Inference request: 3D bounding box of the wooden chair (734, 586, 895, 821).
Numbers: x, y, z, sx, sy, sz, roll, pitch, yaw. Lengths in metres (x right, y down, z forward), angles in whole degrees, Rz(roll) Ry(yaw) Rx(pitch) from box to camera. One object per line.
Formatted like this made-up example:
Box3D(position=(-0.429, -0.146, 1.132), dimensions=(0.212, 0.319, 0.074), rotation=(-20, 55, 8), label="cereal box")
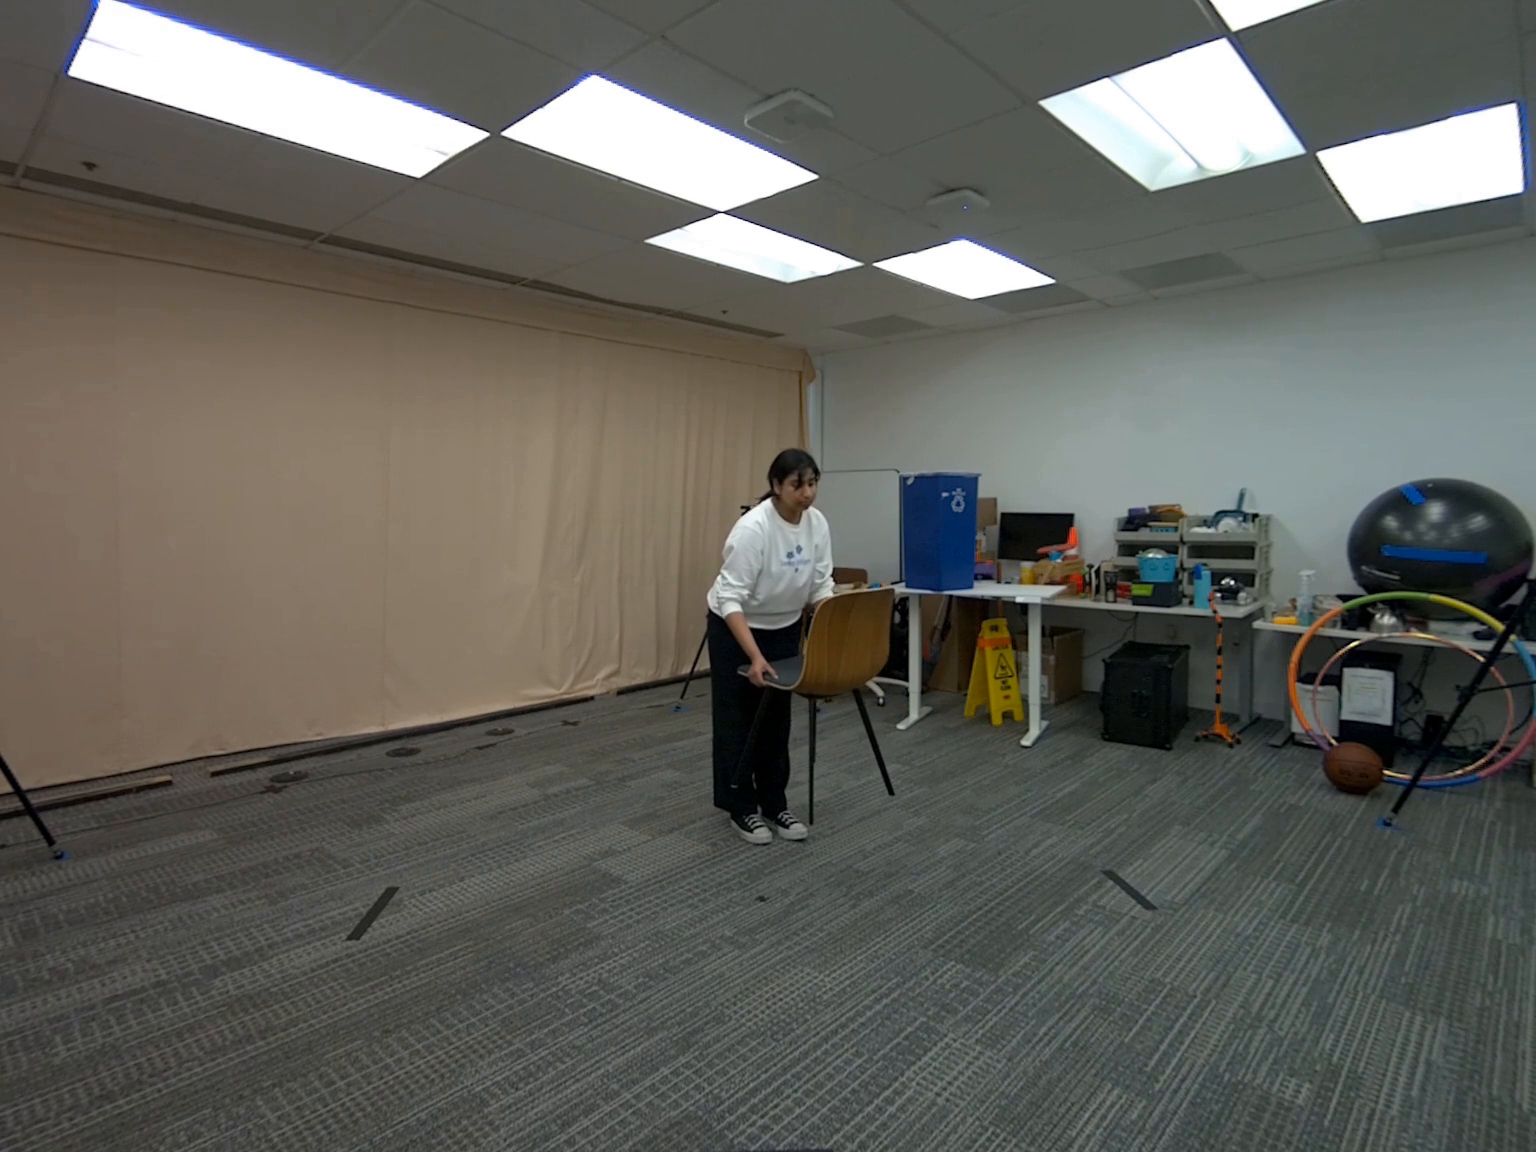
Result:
Box3D(position=(0.190, 0.431, 3.275), dimensions=(0.464, 0.872, 0.542), rotation=(-5, 13, -40), label="wooden chair")
